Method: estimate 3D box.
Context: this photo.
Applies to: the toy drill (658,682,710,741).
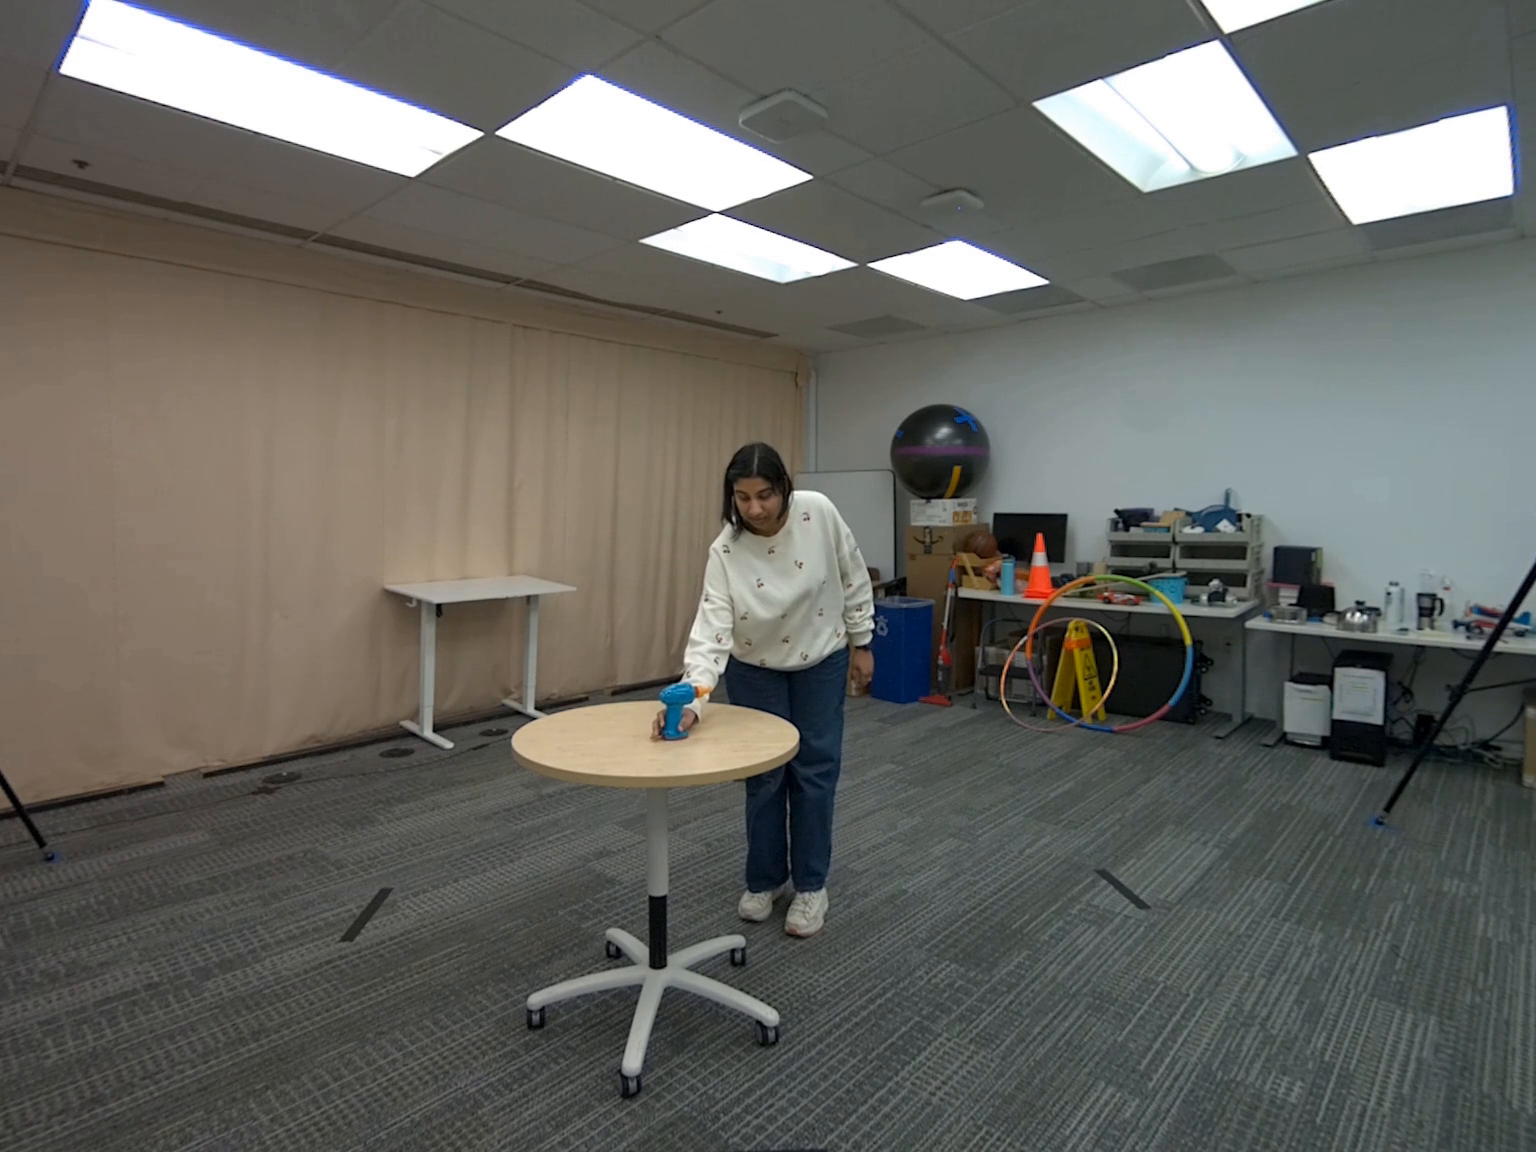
[{"bbox_3d":[-0.215,0.352,2.233,0.164,0.146,0.063,-2,1,-42],"label":"toy drill"}]
